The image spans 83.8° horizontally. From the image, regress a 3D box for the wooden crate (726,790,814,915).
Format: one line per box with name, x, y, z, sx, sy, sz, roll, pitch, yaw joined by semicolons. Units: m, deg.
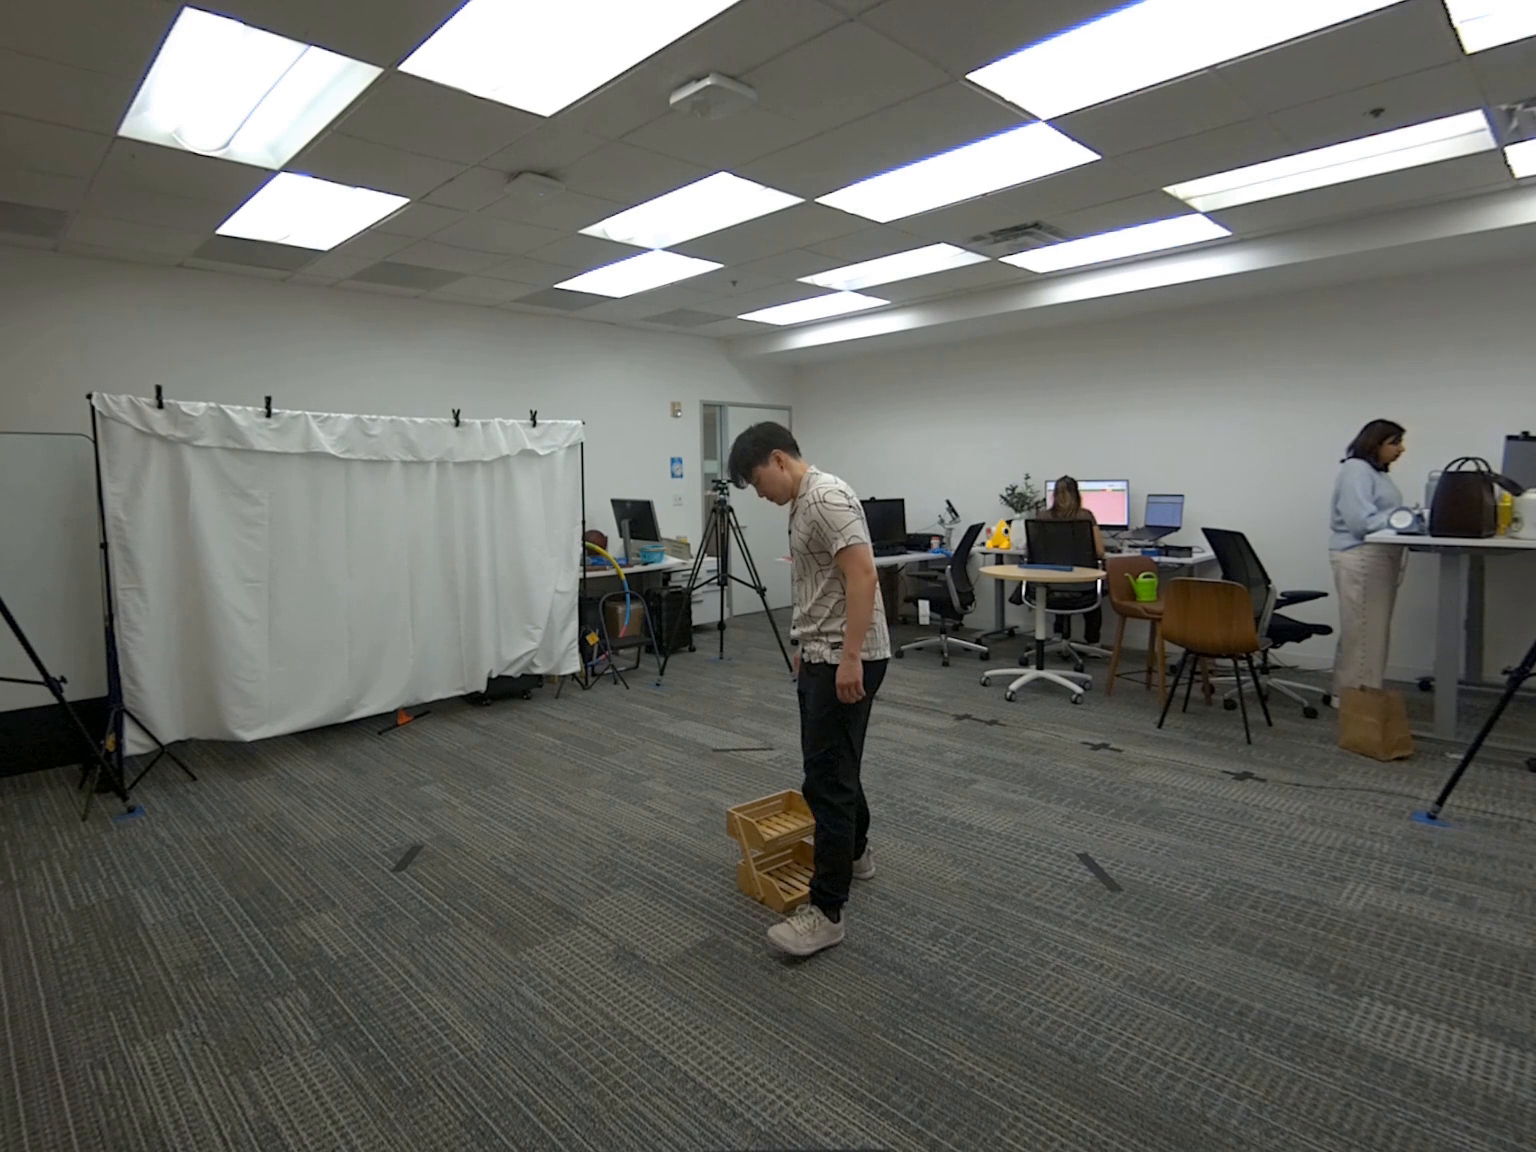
wooden crate;0.075;0.931;2.931;0.316;0.272;0.311;-5;6;-40
